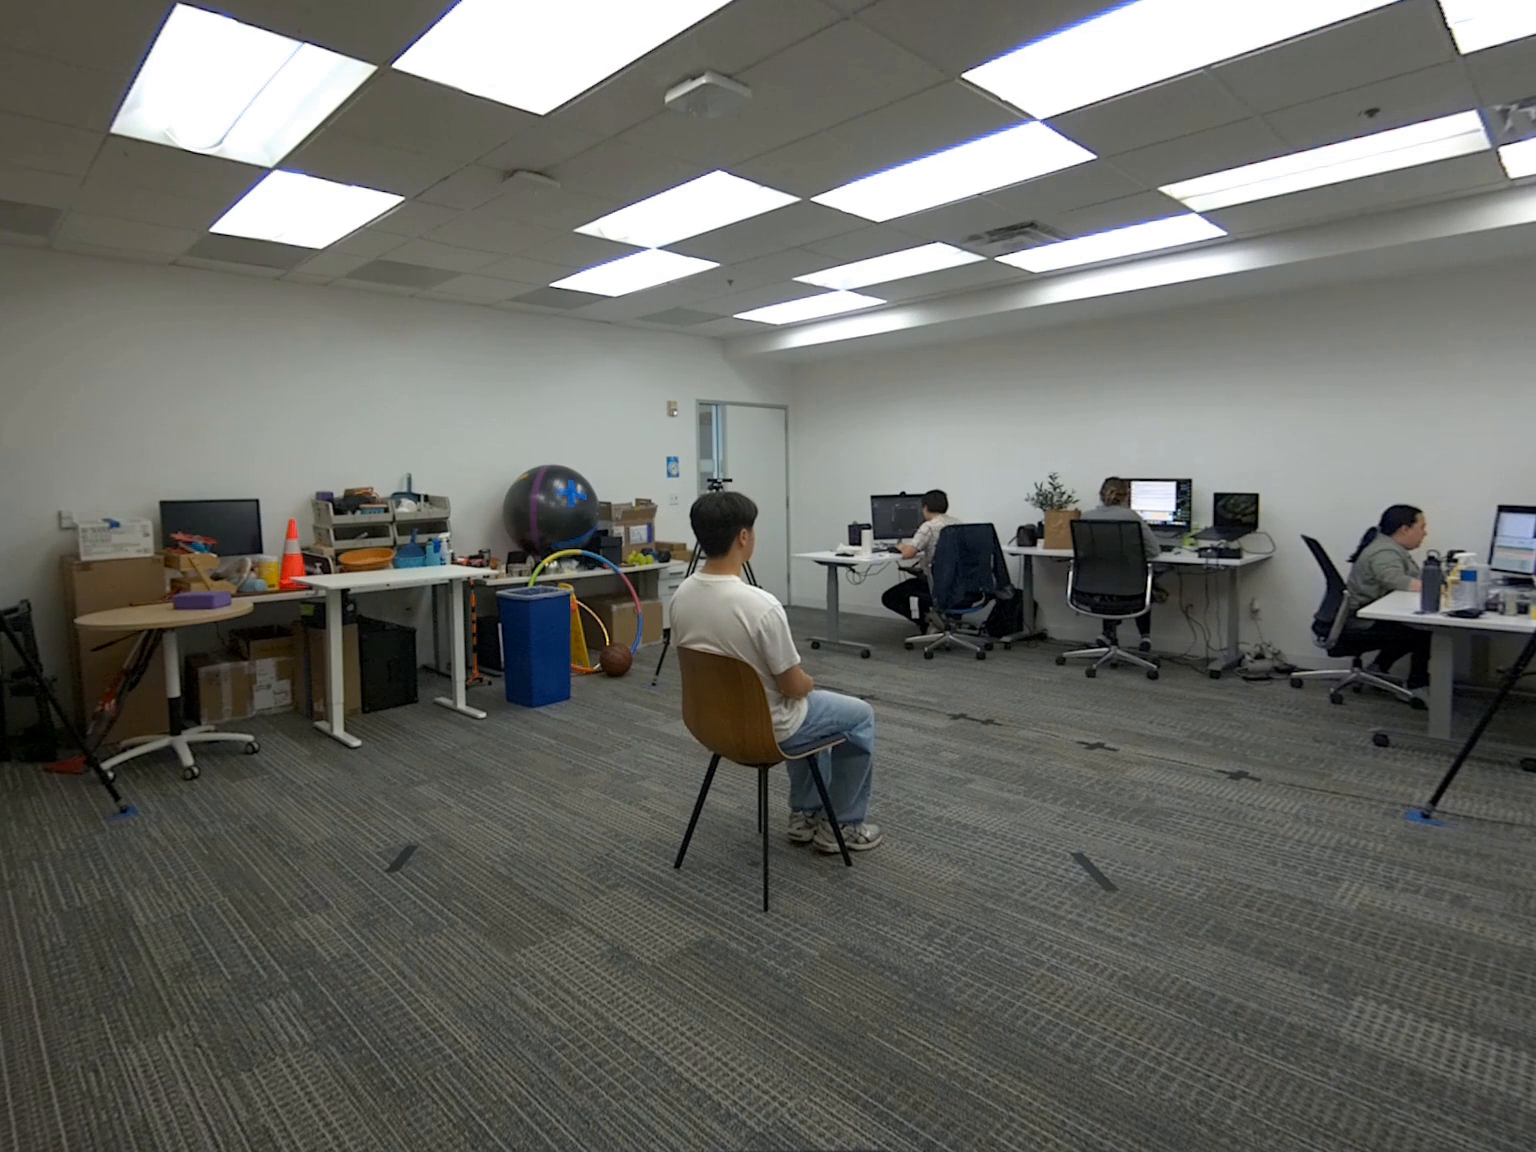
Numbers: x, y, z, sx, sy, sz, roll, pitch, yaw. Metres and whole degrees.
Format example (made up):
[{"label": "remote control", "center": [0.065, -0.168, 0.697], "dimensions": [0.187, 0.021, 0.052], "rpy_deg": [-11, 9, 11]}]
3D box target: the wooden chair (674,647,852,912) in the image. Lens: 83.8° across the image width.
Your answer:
[{"label": "wooden chair", "center": [-0.024, 0.625, 3.041], "dimensions": [0.493, 0.870, 0.511], "rpy_deg": [4, 12, 44]}]
